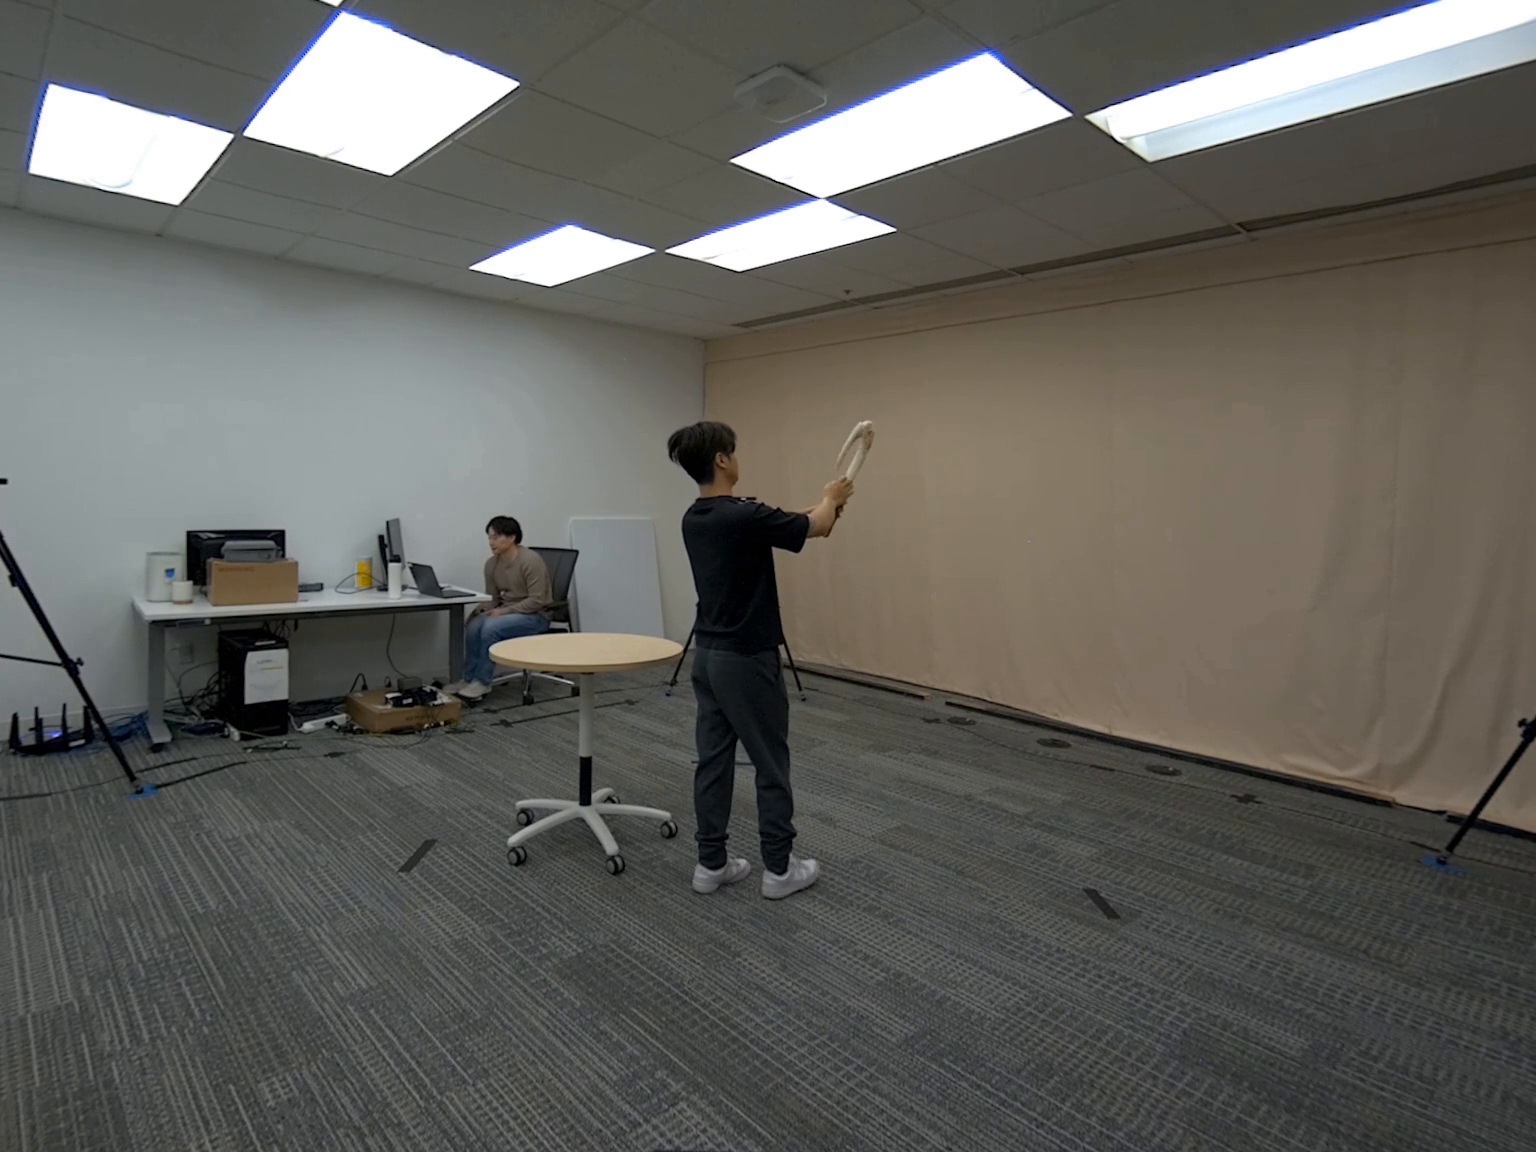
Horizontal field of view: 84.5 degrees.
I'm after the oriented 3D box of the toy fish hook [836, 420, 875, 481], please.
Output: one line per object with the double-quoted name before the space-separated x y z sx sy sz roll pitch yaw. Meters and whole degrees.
"toy fish hook" 0.272 -0.354 3.185 0.049 0.501 0.221 32 28 26
